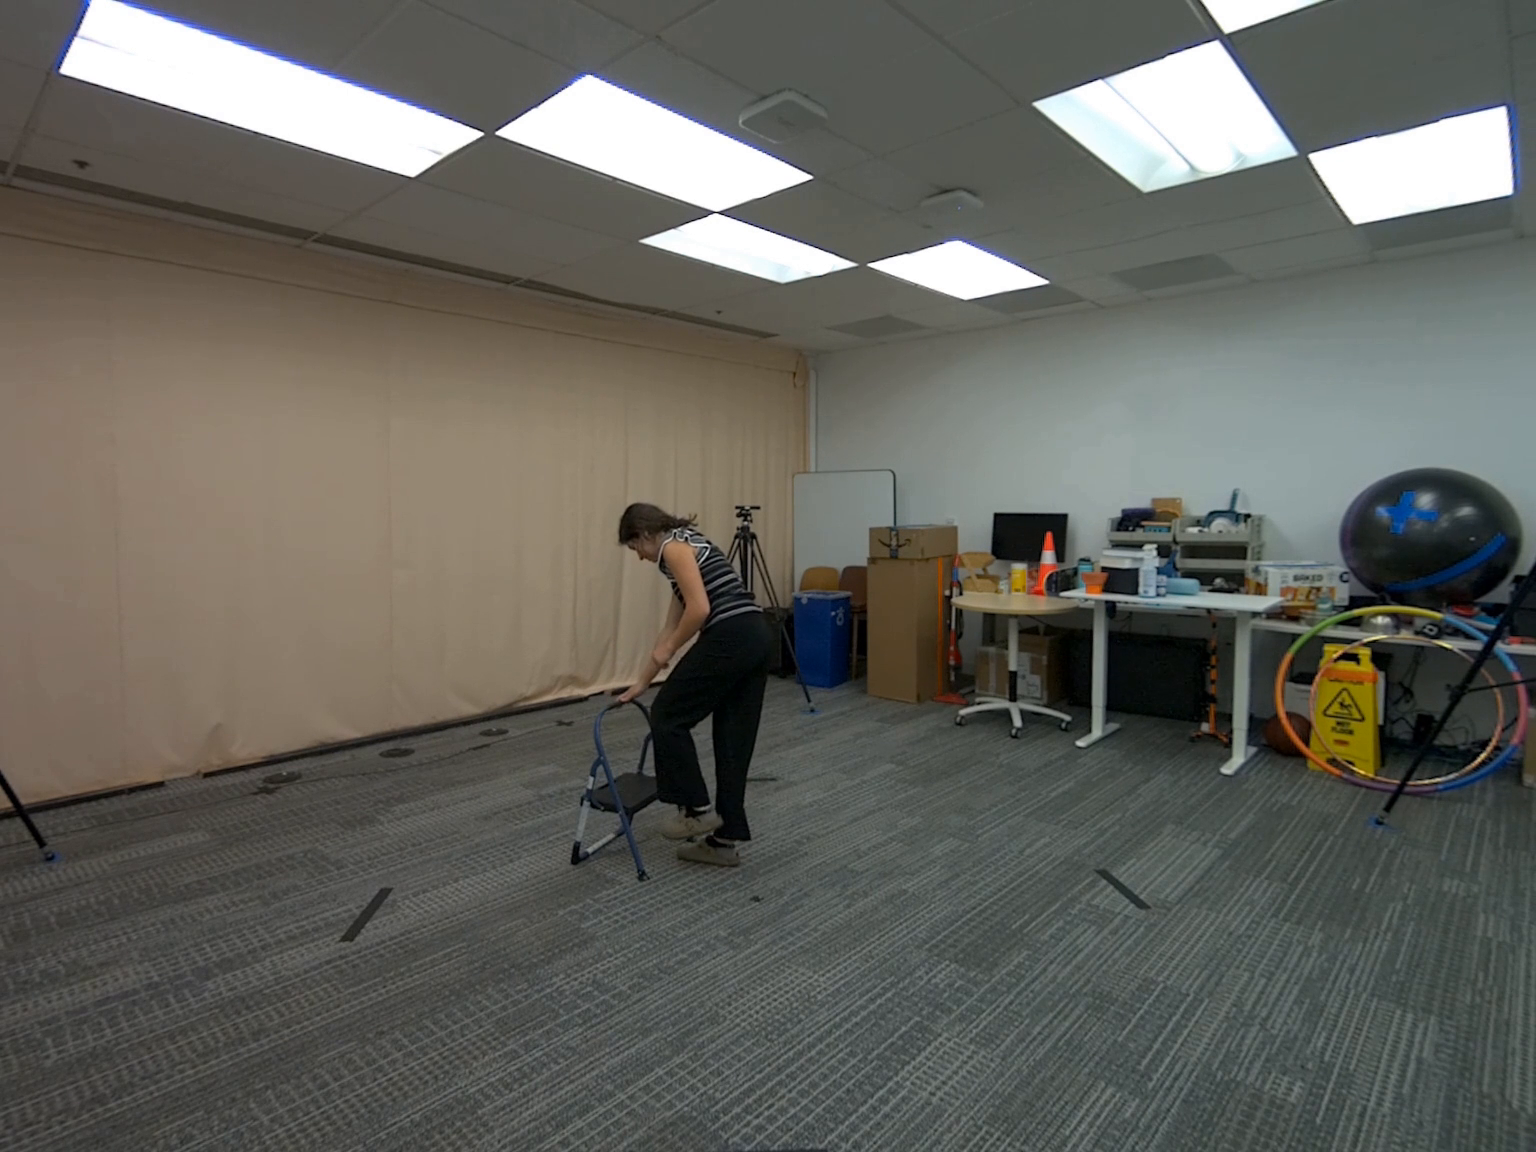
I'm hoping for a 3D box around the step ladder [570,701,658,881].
[{"bbox_3d":[-0.539,0.813,3.383,0.358,0.605,0.421,0,3,24],"label":"step ladder"}]
